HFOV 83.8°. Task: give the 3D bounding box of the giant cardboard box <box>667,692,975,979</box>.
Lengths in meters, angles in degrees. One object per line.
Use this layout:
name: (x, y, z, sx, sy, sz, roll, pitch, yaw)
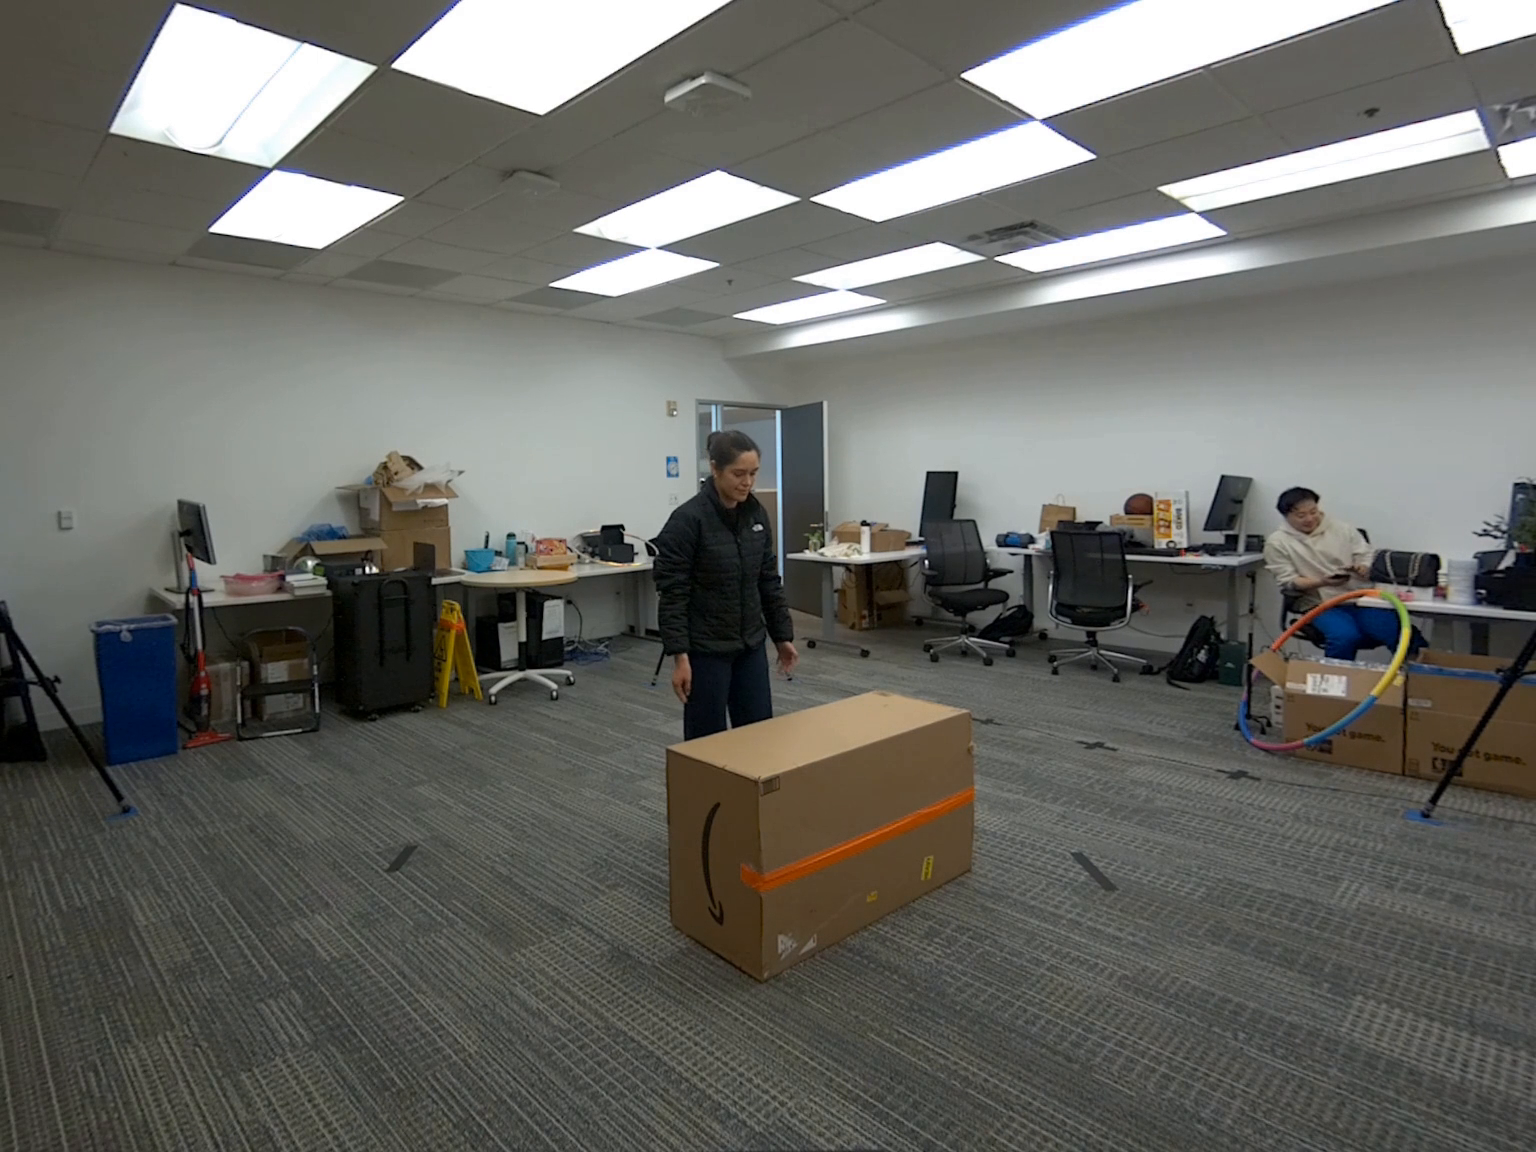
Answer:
giant cardboard box: (0.210, 0.784, 2.841, 1.000, 0.582, 0.460, -6, 6, -41)
